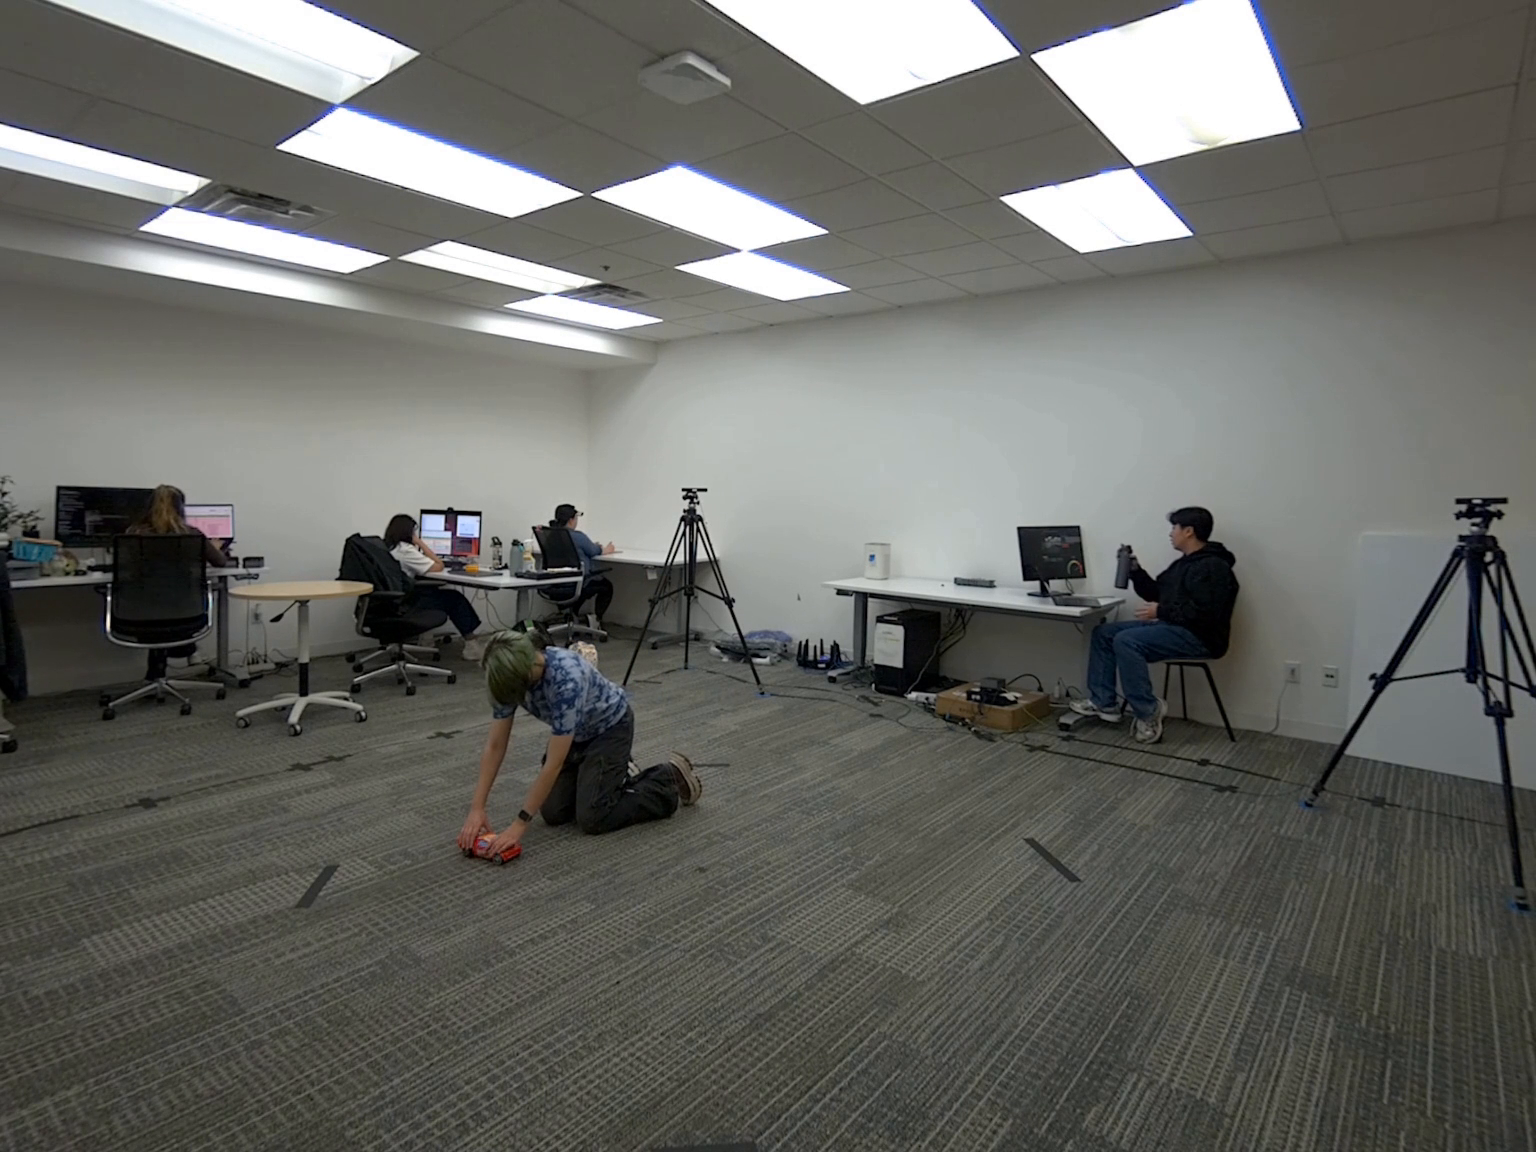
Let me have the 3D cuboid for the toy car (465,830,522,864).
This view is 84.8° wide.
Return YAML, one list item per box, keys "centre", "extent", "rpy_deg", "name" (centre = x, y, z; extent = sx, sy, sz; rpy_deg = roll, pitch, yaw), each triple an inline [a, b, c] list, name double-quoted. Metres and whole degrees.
- centre: [-1.071, 1.025, 3.201]
  extent: [0.262, 0.082, 0.128]
  rpy_deg: [13, 11, 24]
  name: "toy car"
